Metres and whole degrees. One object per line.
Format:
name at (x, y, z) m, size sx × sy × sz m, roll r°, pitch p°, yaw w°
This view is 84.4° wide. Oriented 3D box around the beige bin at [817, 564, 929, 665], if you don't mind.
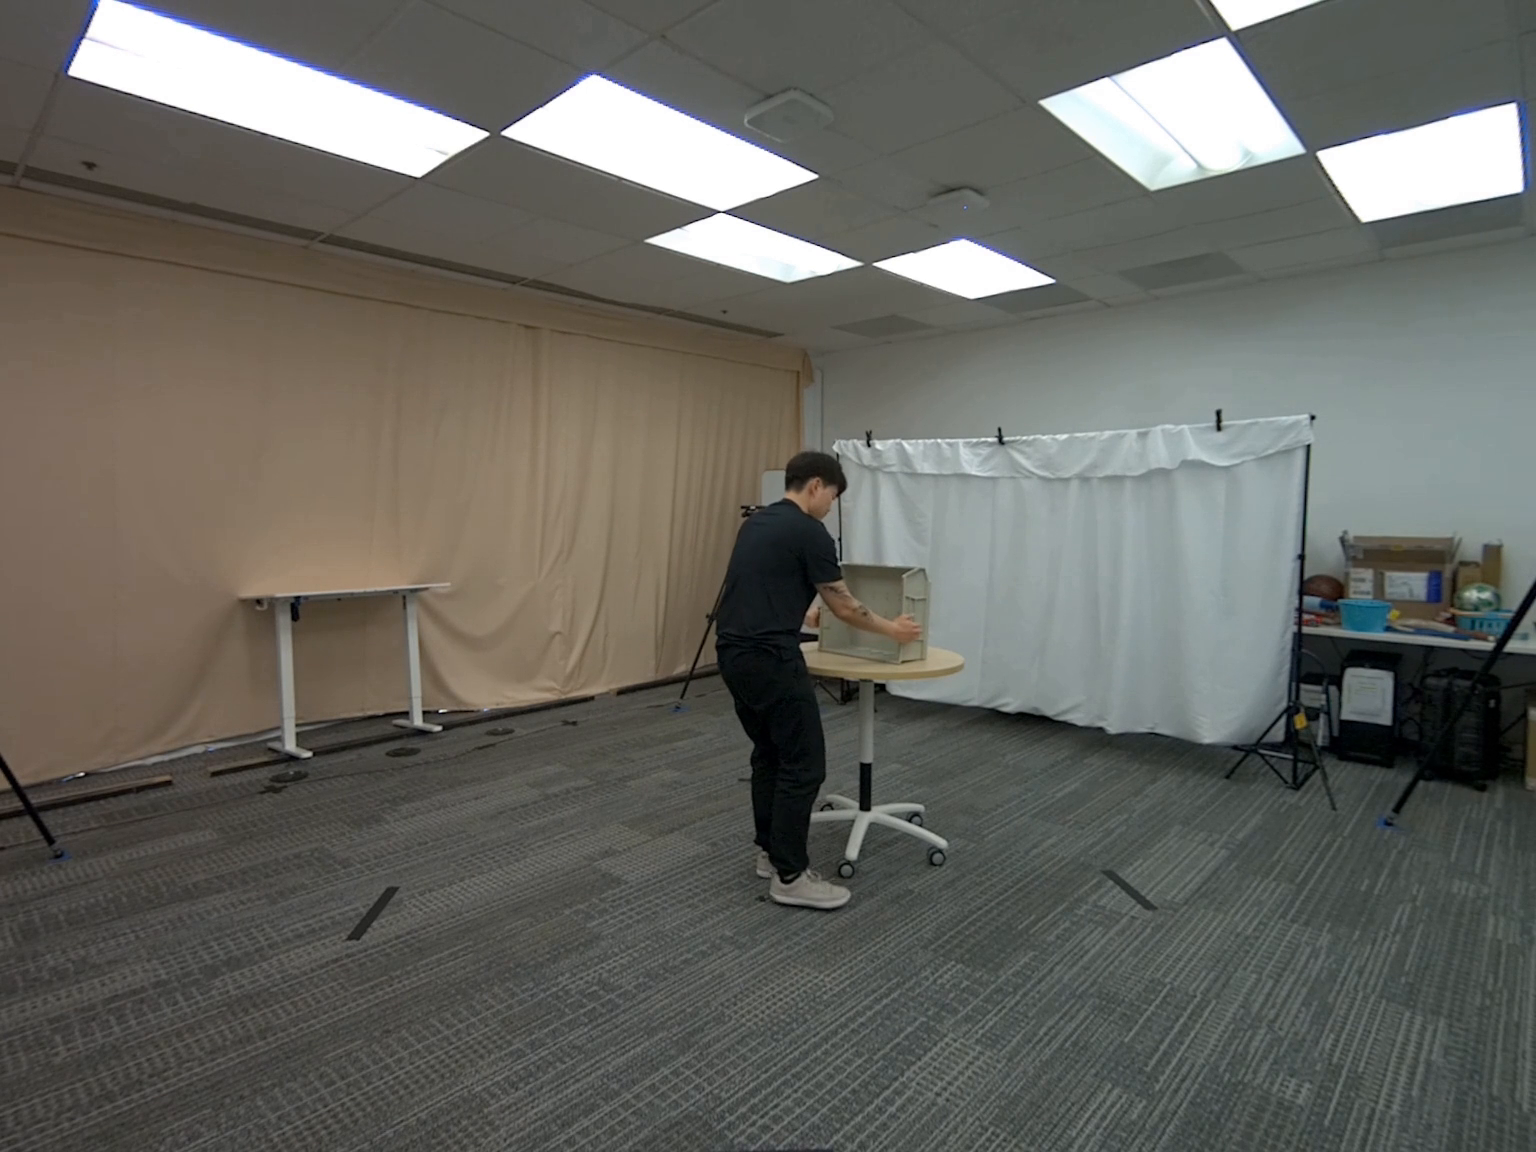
beige bin at (0.436, 0.142, 3.427) m, size 0.183 × 0.377 × 0.436 m, roll 5°, pitch -1°, yaw -42°
